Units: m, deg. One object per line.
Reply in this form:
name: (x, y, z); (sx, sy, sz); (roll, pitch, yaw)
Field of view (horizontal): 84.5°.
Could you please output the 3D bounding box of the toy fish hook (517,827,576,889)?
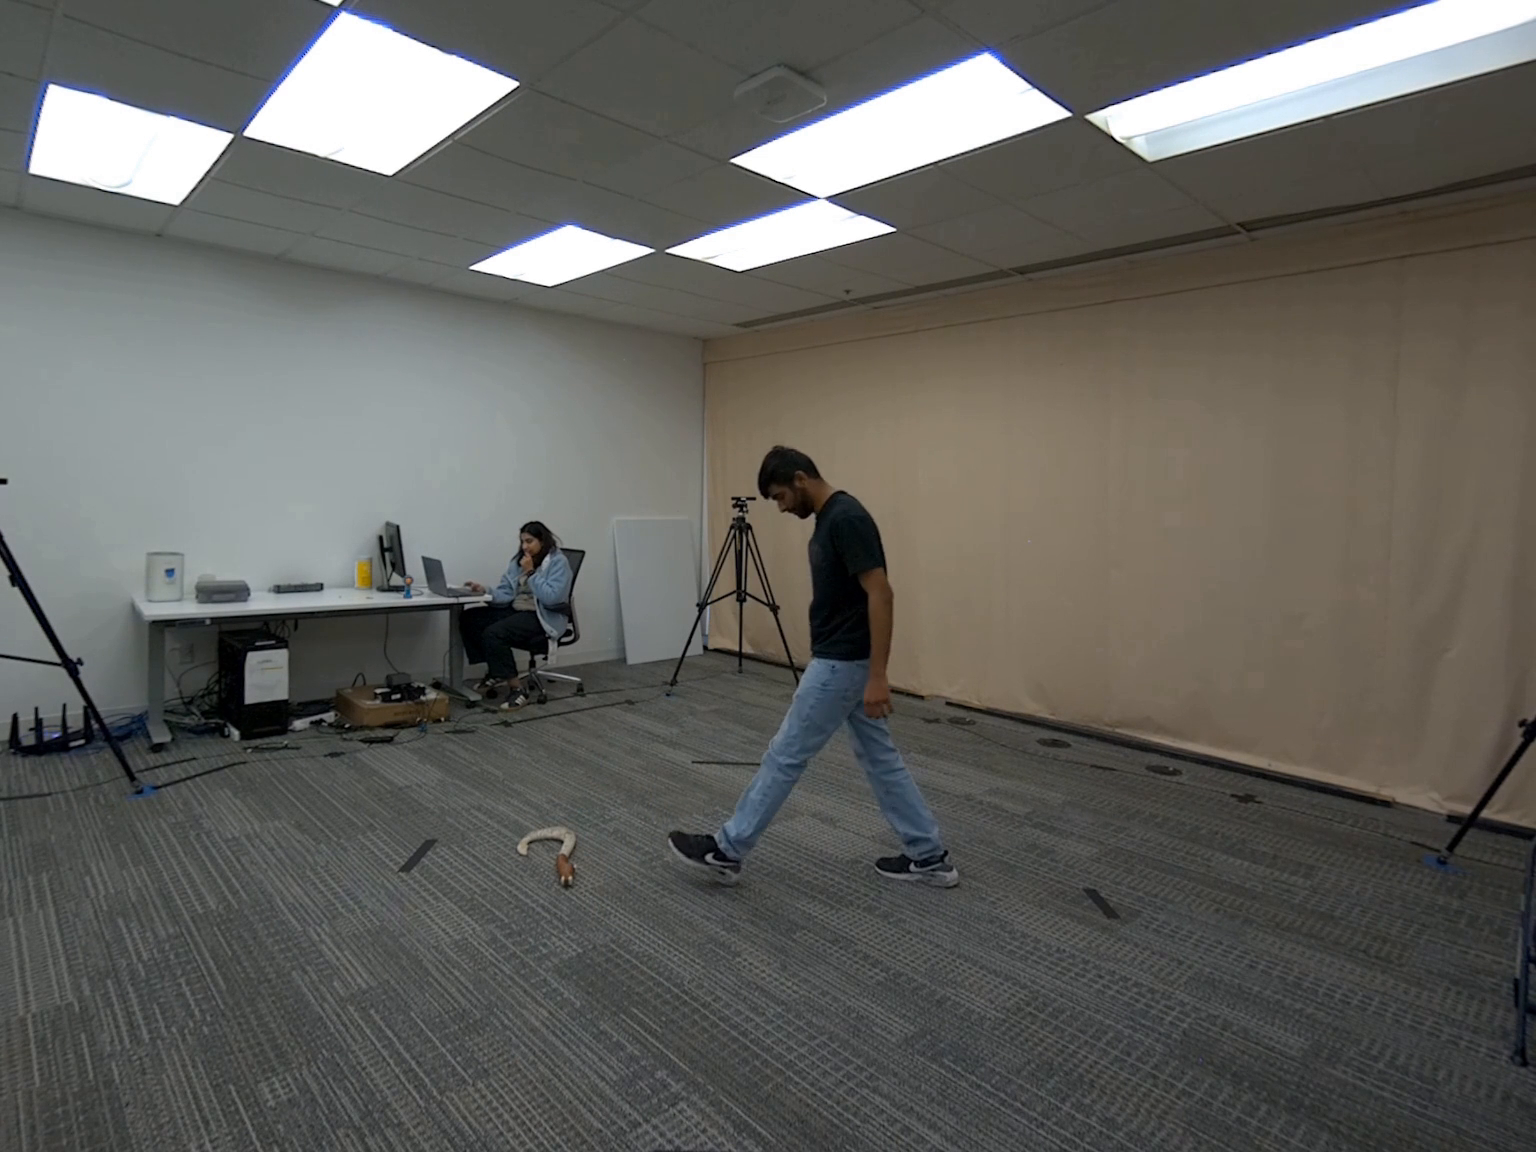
toy fish hook: (-0.832, 1.059, 3.195); (0.222, 0.048, 0.514); (-9, 7, -17)
